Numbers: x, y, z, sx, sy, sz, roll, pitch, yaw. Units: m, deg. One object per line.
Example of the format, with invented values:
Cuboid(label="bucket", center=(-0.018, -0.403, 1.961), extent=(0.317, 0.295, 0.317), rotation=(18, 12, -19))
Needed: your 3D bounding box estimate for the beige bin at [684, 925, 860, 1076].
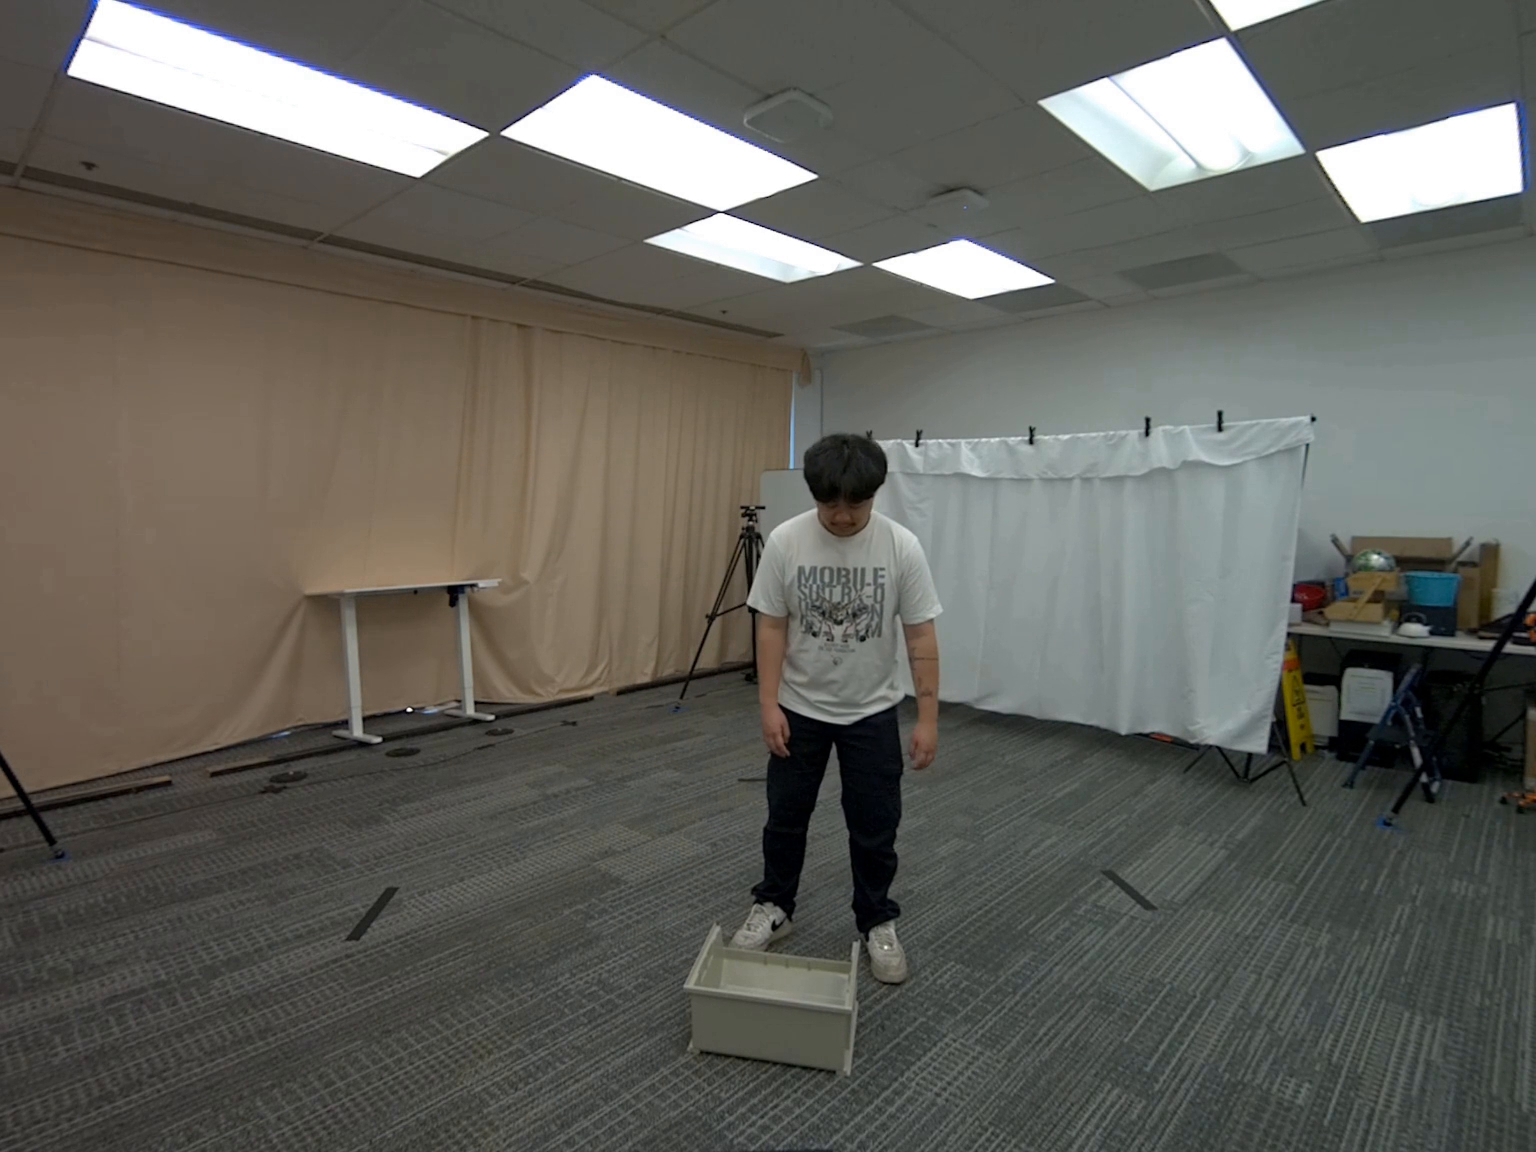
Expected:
Cuboid(label="beige bin", center=(0.028, 1.117, 2.260), extent=(0.428, 0.188, 0.374), rotation=(1, 6, 11))
